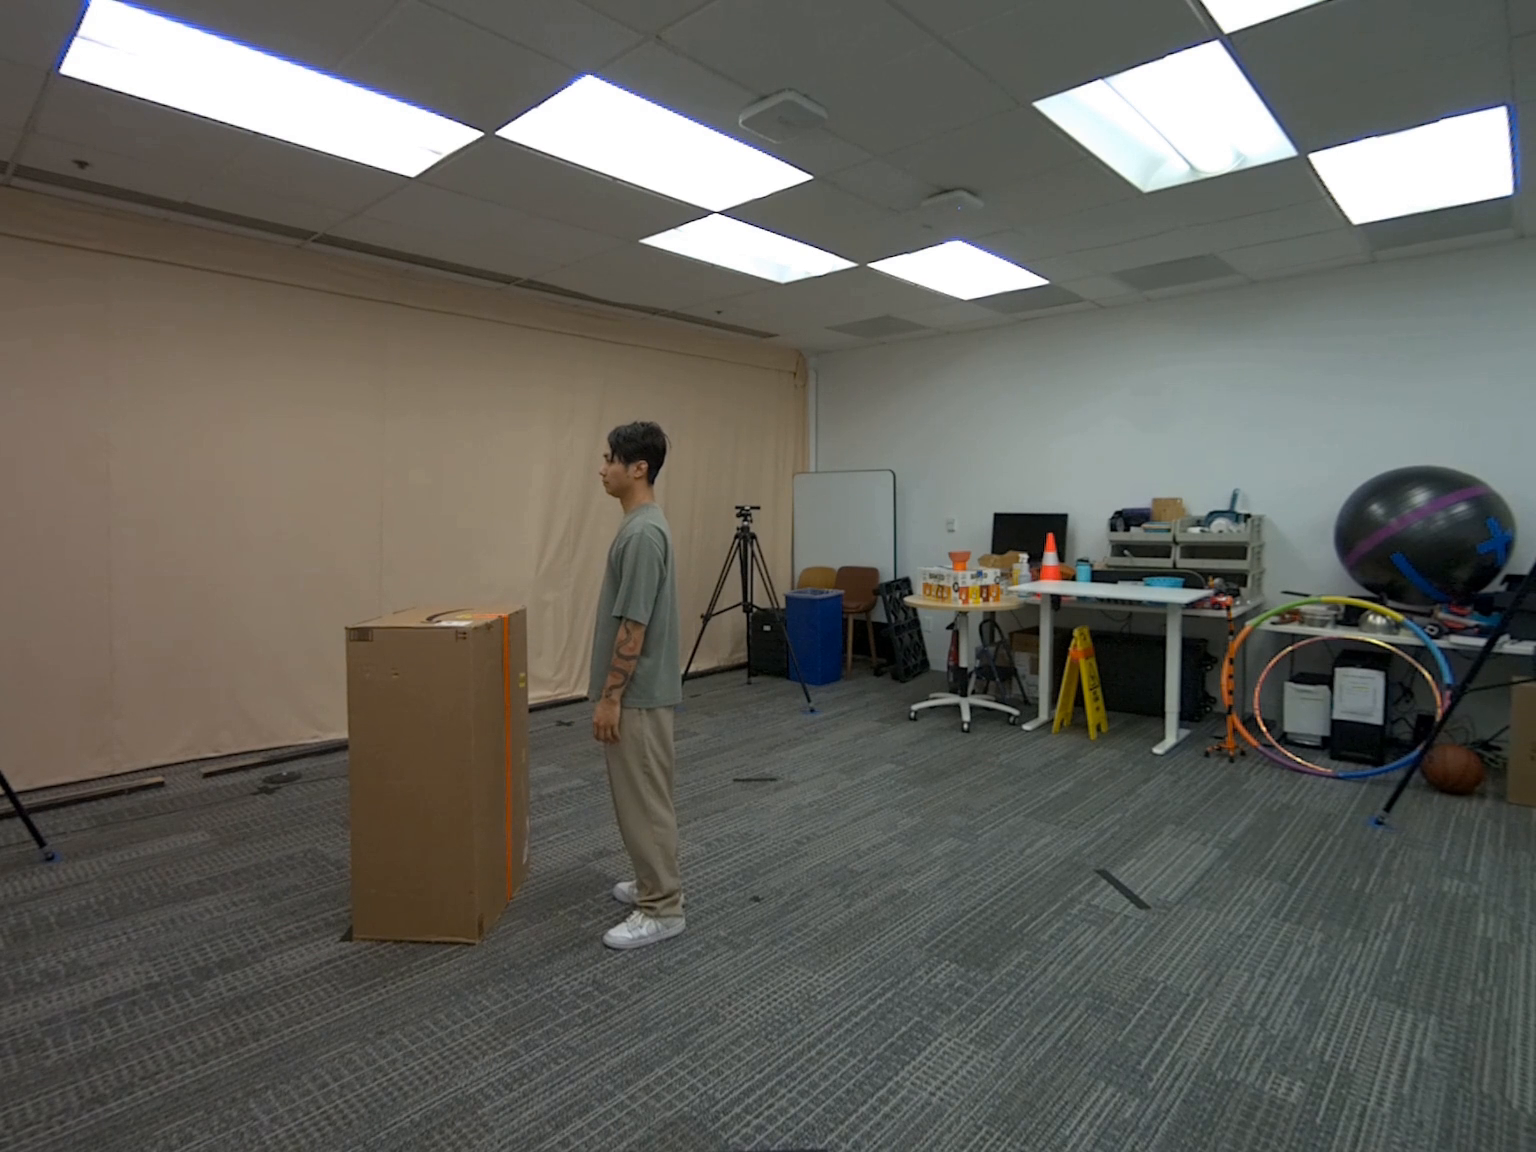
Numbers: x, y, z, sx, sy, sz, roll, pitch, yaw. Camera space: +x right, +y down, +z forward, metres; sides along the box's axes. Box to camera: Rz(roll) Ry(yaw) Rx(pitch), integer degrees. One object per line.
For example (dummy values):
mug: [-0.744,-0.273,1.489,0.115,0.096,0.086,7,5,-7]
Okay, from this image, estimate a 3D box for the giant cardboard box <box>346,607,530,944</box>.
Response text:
giant cardboard box: [-1.138,0.652,2.961,0.428,1.024,0.577,-1,2,2]
